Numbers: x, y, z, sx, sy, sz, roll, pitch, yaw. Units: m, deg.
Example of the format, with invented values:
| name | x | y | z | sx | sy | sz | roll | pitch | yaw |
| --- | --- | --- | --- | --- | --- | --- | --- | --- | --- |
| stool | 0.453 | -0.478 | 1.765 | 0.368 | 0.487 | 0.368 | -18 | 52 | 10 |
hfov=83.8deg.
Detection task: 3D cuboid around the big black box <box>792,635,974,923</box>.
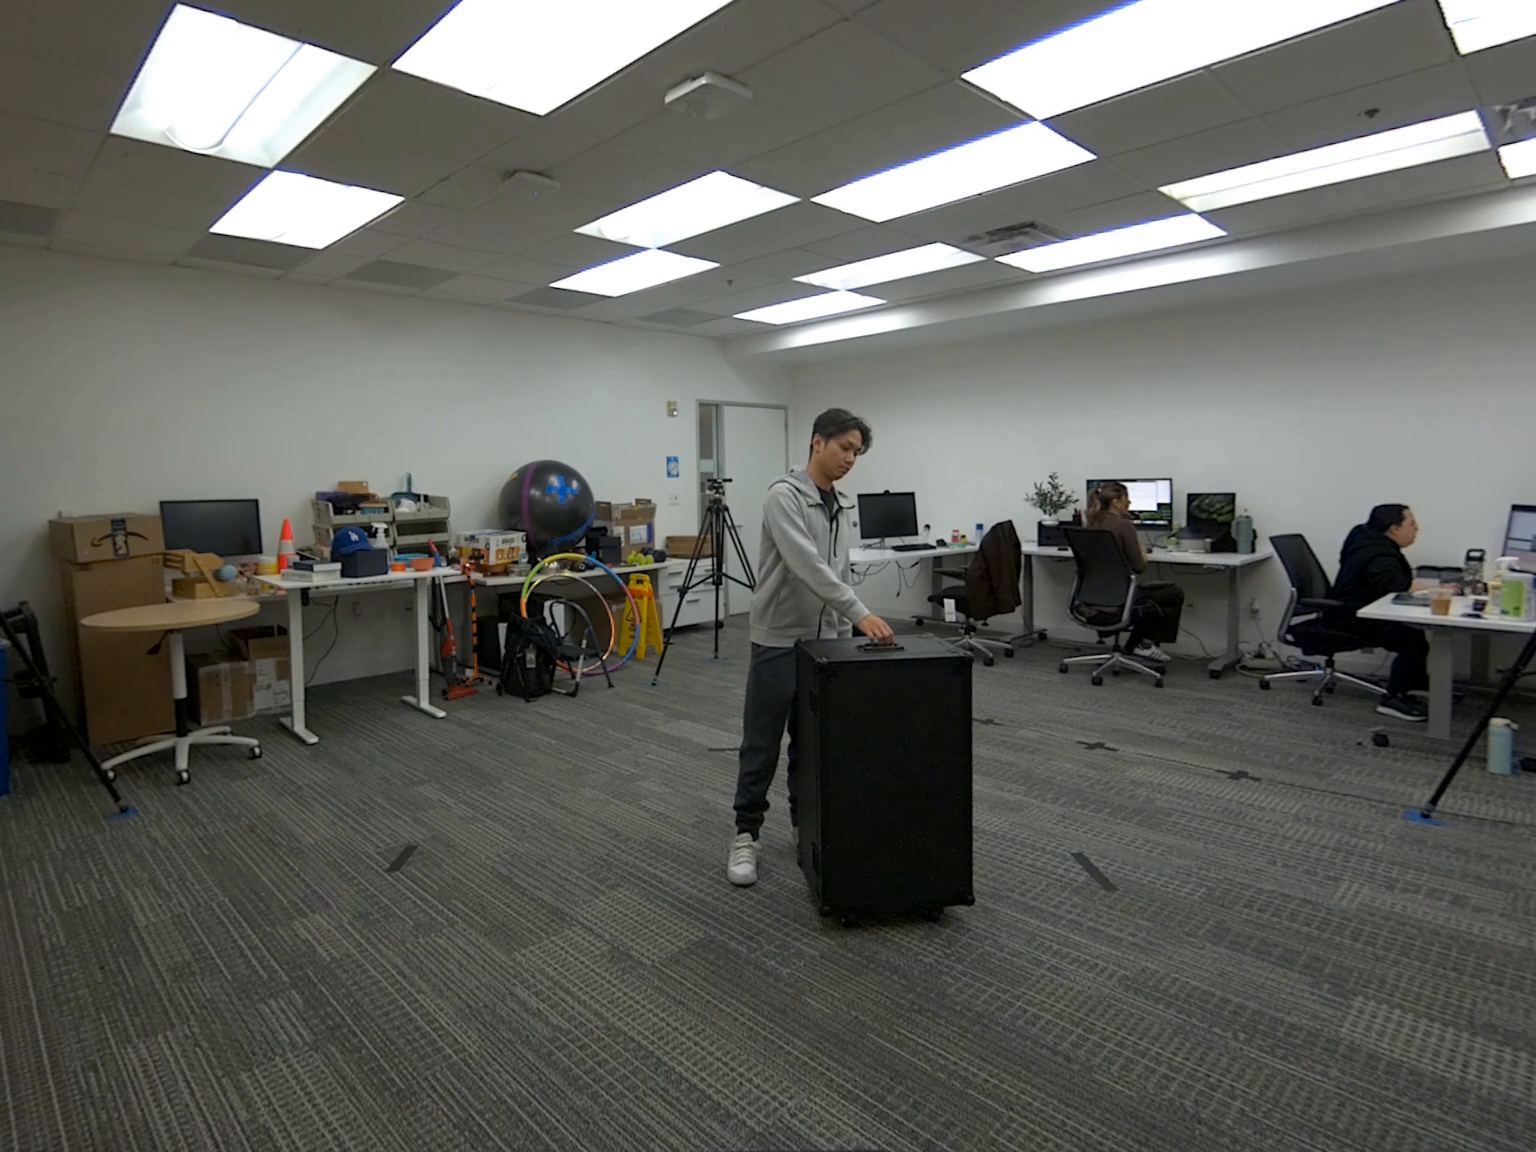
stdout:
| name | x | y | z | sx | sy | sz | roll | pitch | yaw |
| --- | --- | --- | --- | --- | --- | --- | --- | --- | --- |
| big black box | 0.367 | 0.652 | 2.766 | 0.518 | 0.859 | 0.400 | -2 | 4 | -8 |
